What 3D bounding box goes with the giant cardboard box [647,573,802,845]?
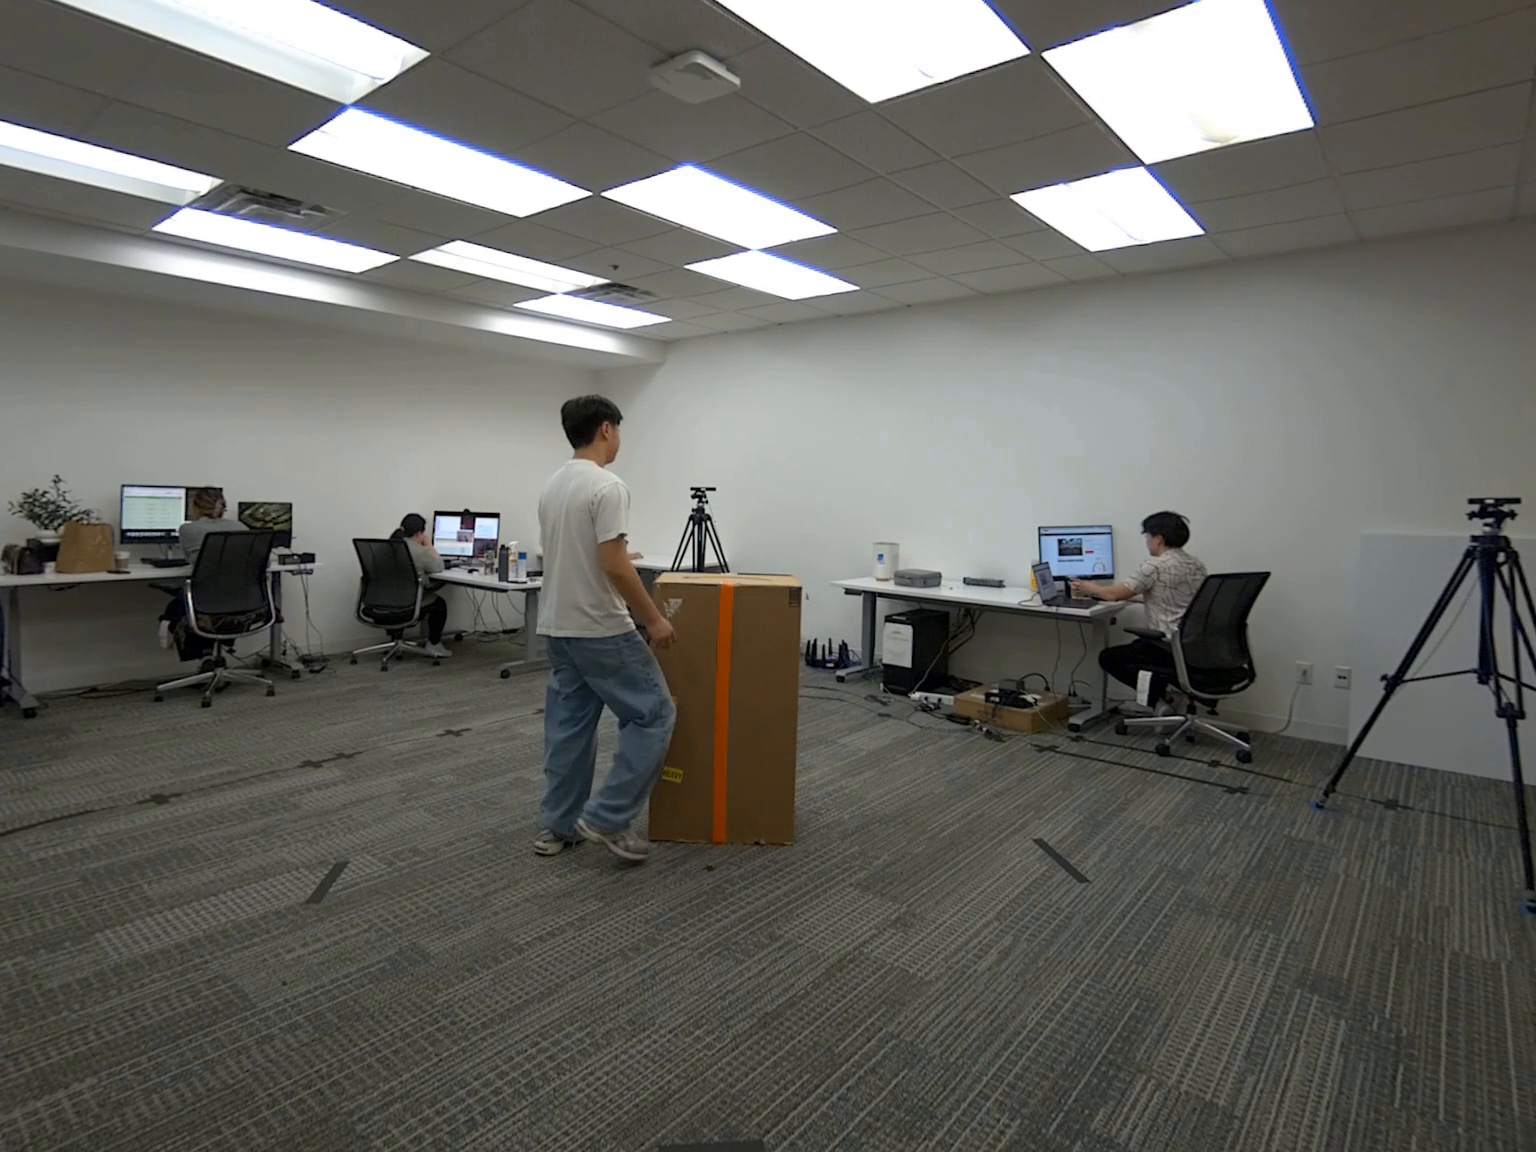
[{"bbox_3d":[-0.186,0.516,3.524,0.579,1.022,0.426,2,3,2],"label":"giant cardboard box"}]
